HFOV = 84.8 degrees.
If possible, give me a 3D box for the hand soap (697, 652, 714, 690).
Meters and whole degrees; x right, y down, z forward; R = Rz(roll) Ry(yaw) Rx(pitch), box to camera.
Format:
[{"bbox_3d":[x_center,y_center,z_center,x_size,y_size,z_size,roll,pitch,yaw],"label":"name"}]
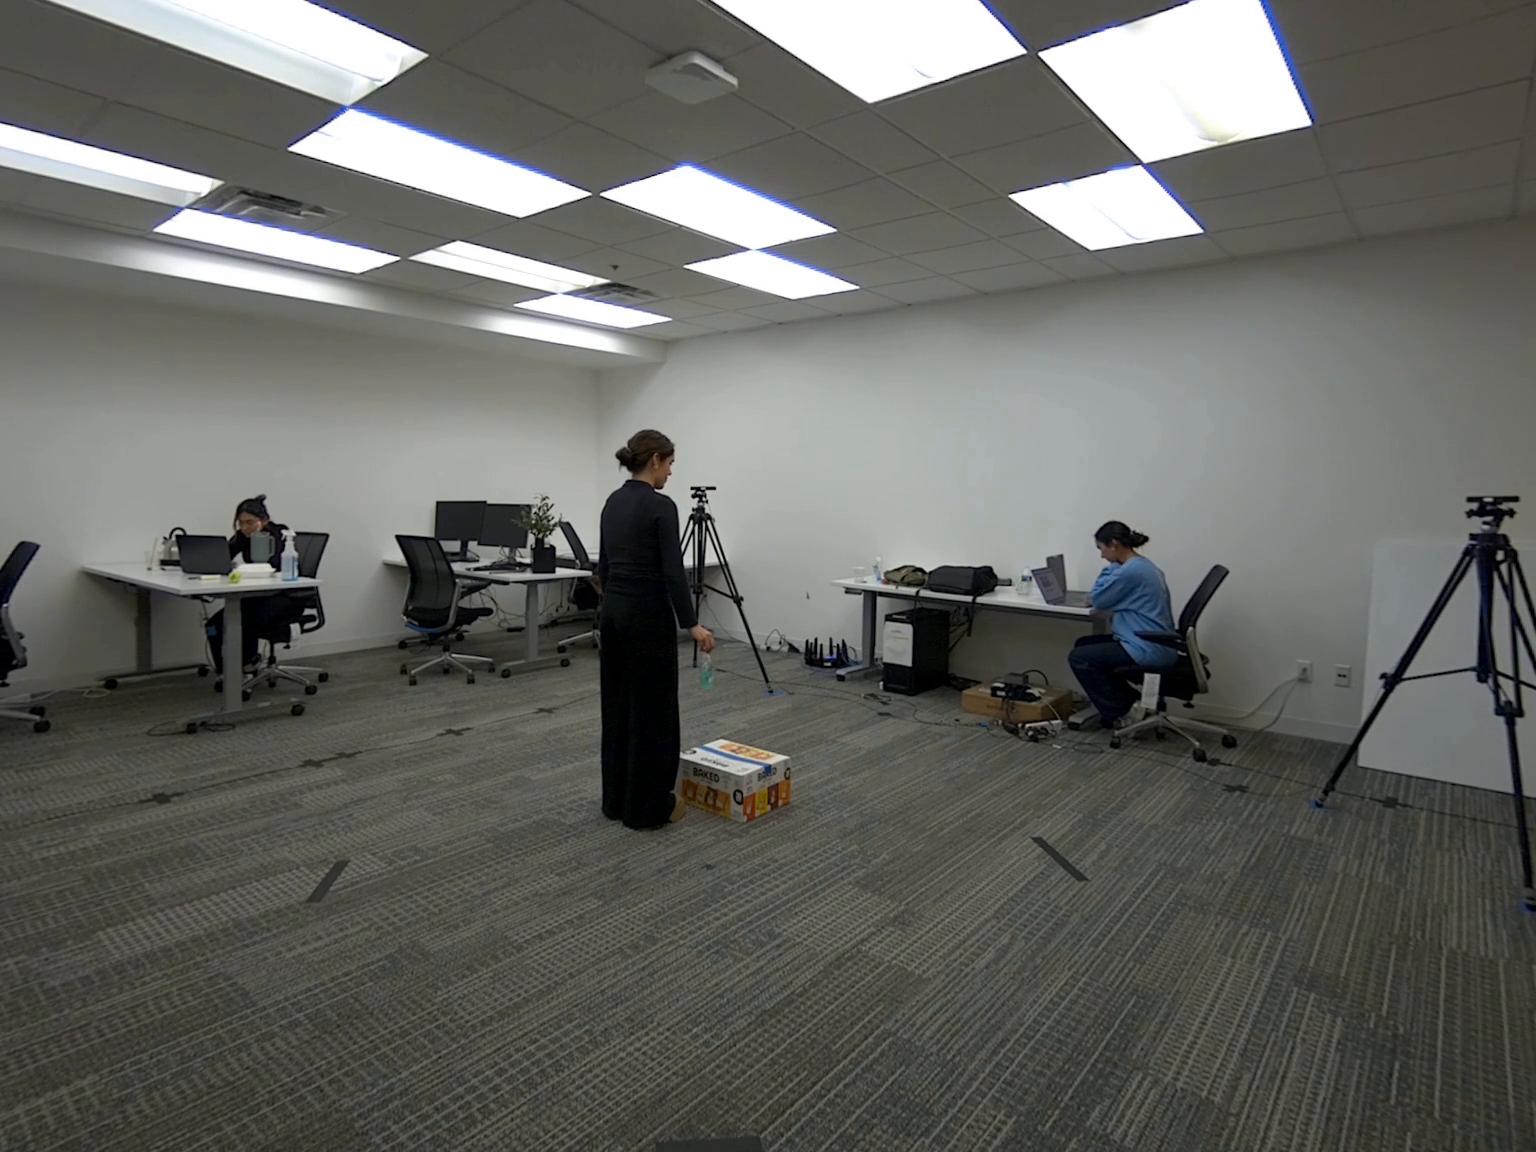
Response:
[{"bbox_3d":[-0.259,0.369,3.450,0.044,0.167,0.083,2,4,22],"label":"hand soap"}]
